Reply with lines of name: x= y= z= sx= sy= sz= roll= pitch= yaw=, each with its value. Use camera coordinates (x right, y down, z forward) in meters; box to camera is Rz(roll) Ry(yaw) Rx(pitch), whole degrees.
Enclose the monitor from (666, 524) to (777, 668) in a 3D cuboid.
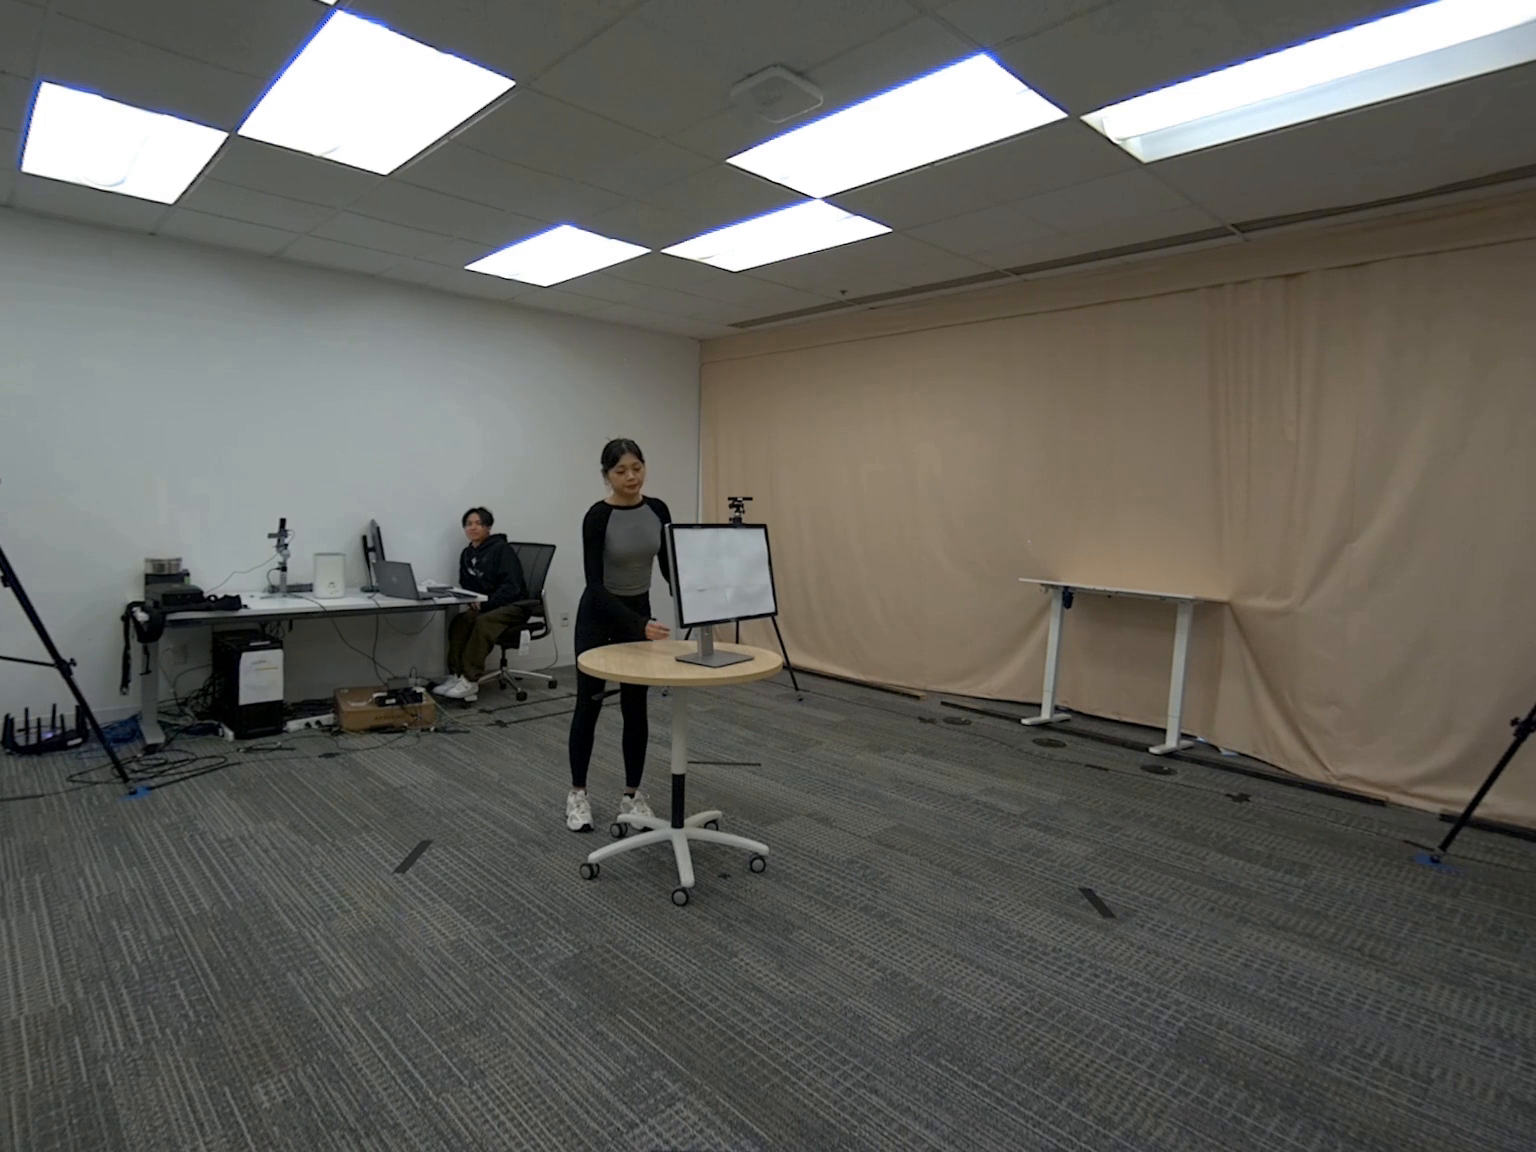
monitor: x=-0.197 y=0.070 z=3.116 sx=0.192 sy=0.521 sz=0.527 roll=8 pitch=7 yaw=36
